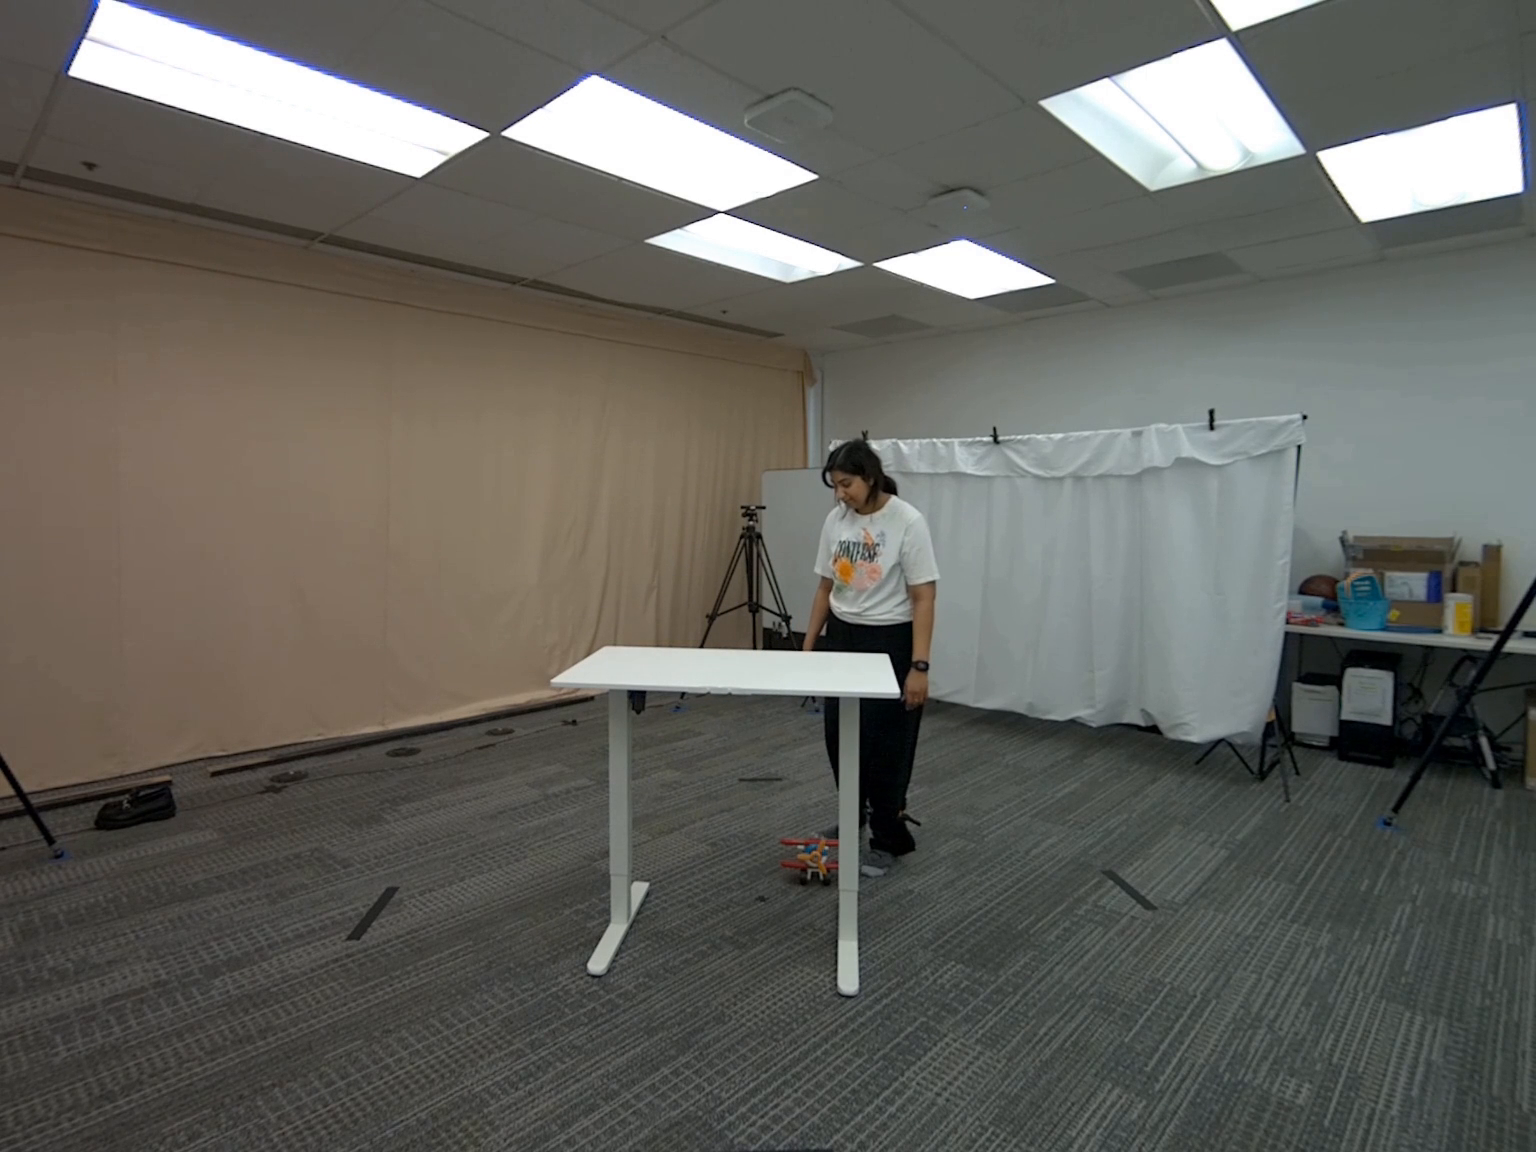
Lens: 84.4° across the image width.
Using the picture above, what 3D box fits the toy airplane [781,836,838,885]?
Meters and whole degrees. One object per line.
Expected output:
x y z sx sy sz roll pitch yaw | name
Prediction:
0.156 1.050 3.173 0.245 0.156 0.266 -2 5 -26 | toy airplane
